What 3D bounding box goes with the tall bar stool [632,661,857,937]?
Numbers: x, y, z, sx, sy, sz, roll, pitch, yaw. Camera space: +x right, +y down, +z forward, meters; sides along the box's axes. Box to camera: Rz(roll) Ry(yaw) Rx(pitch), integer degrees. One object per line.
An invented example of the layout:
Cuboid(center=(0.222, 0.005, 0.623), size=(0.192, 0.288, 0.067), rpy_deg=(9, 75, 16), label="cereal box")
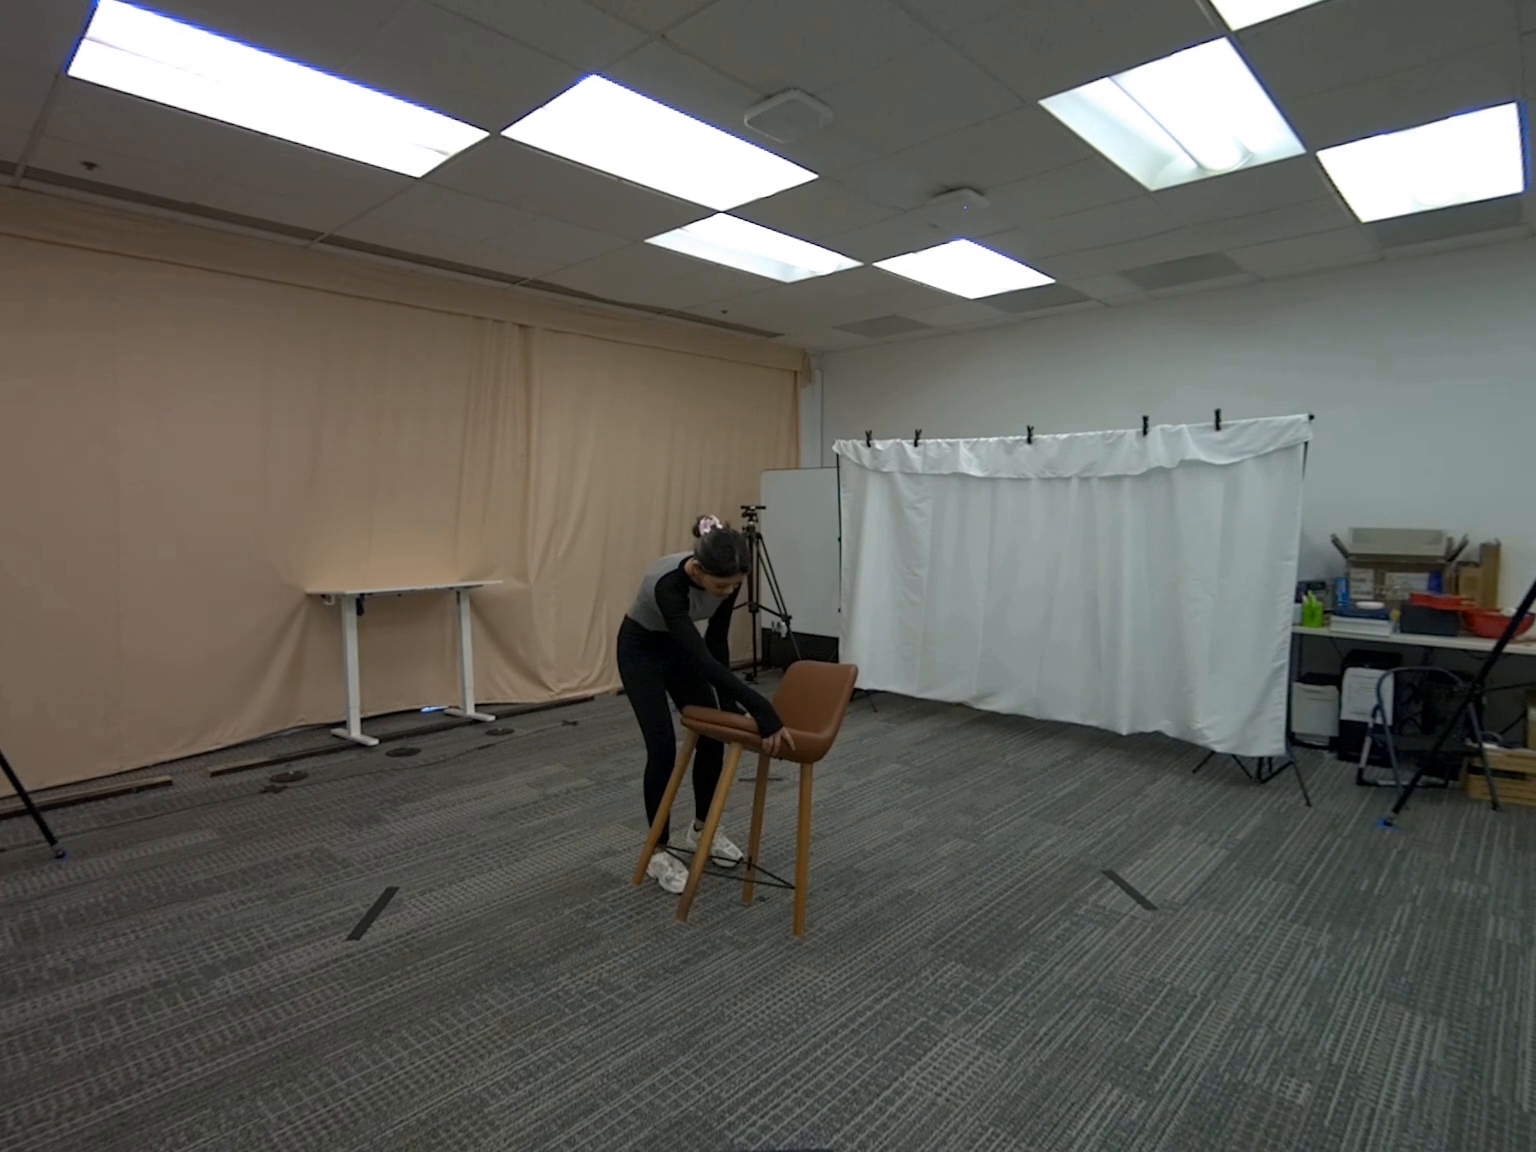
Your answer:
Cuboid(center=(-0.061, 0.670, 2.783), size=(0.455, 0.893, 0.467), rpy_deg=(19, -13, -26), label="tall bar stool")
